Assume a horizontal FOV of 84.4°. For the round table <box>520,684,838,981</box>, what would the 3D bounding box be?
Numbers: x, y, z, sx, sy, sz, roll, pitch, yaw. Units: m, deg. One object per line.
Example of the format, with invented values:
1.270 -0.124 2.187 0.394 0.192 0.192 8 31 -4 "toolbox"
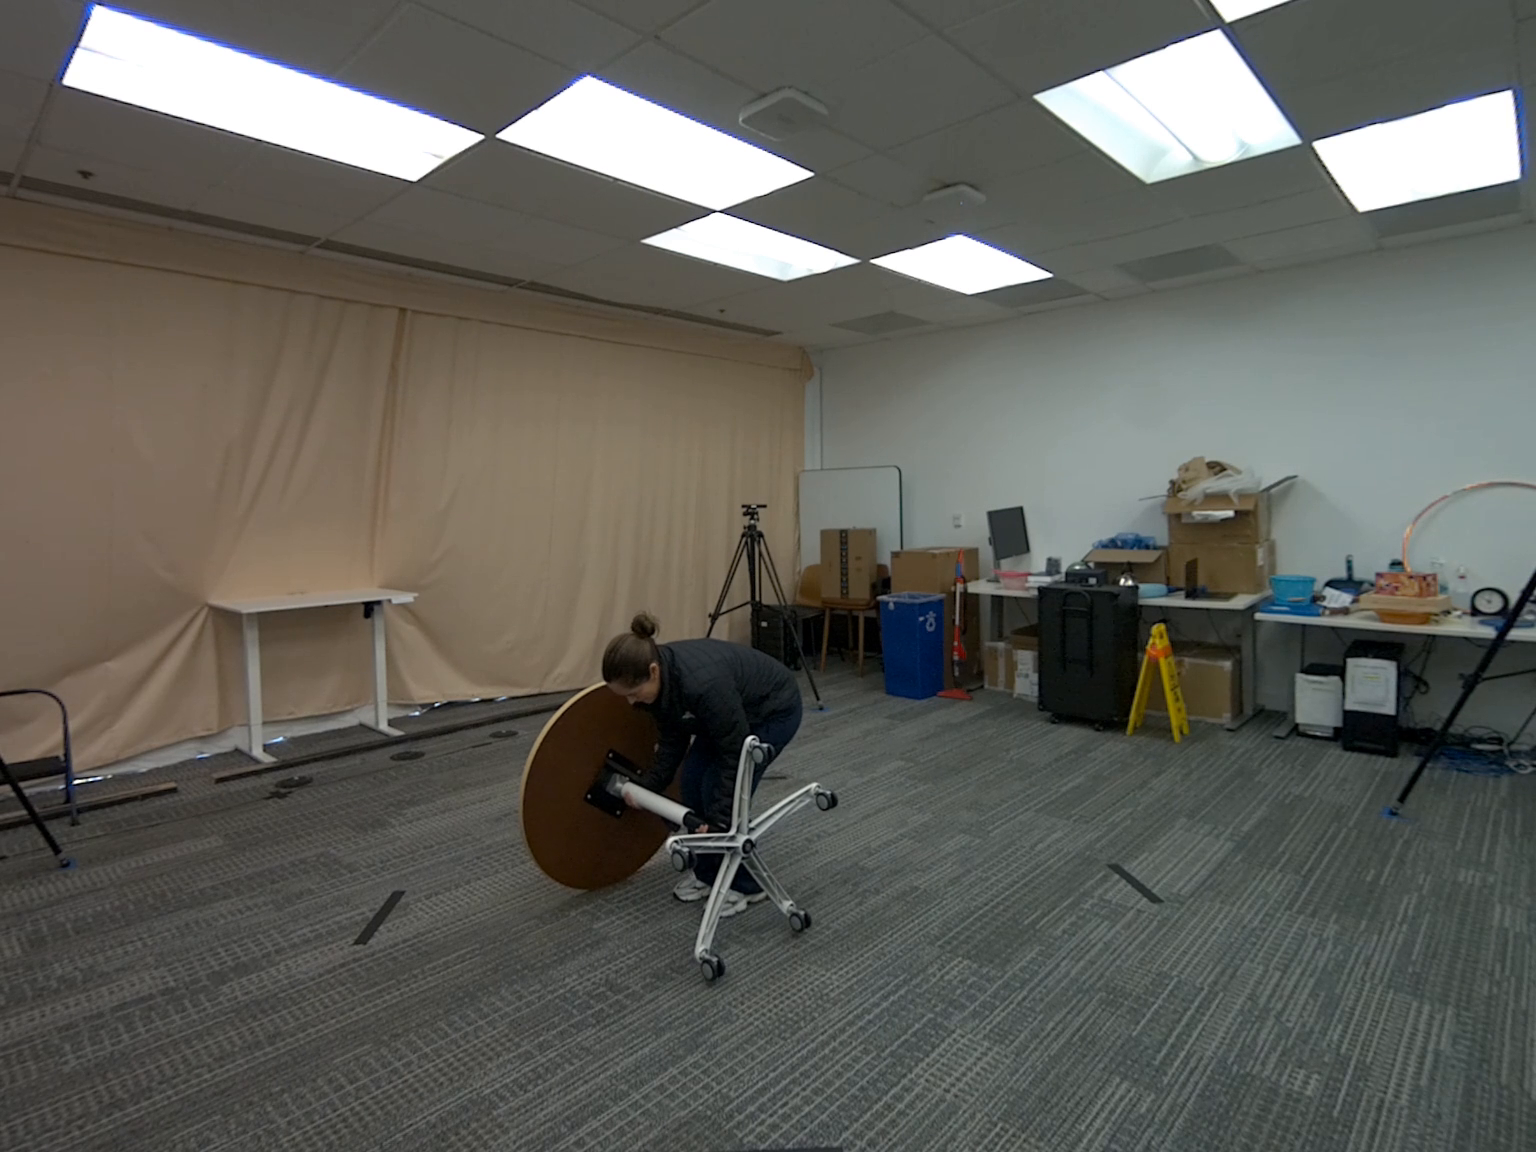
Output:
-0.271 0.811 2.828 0.814 0.782 0.761 9 9 43 "round table"
